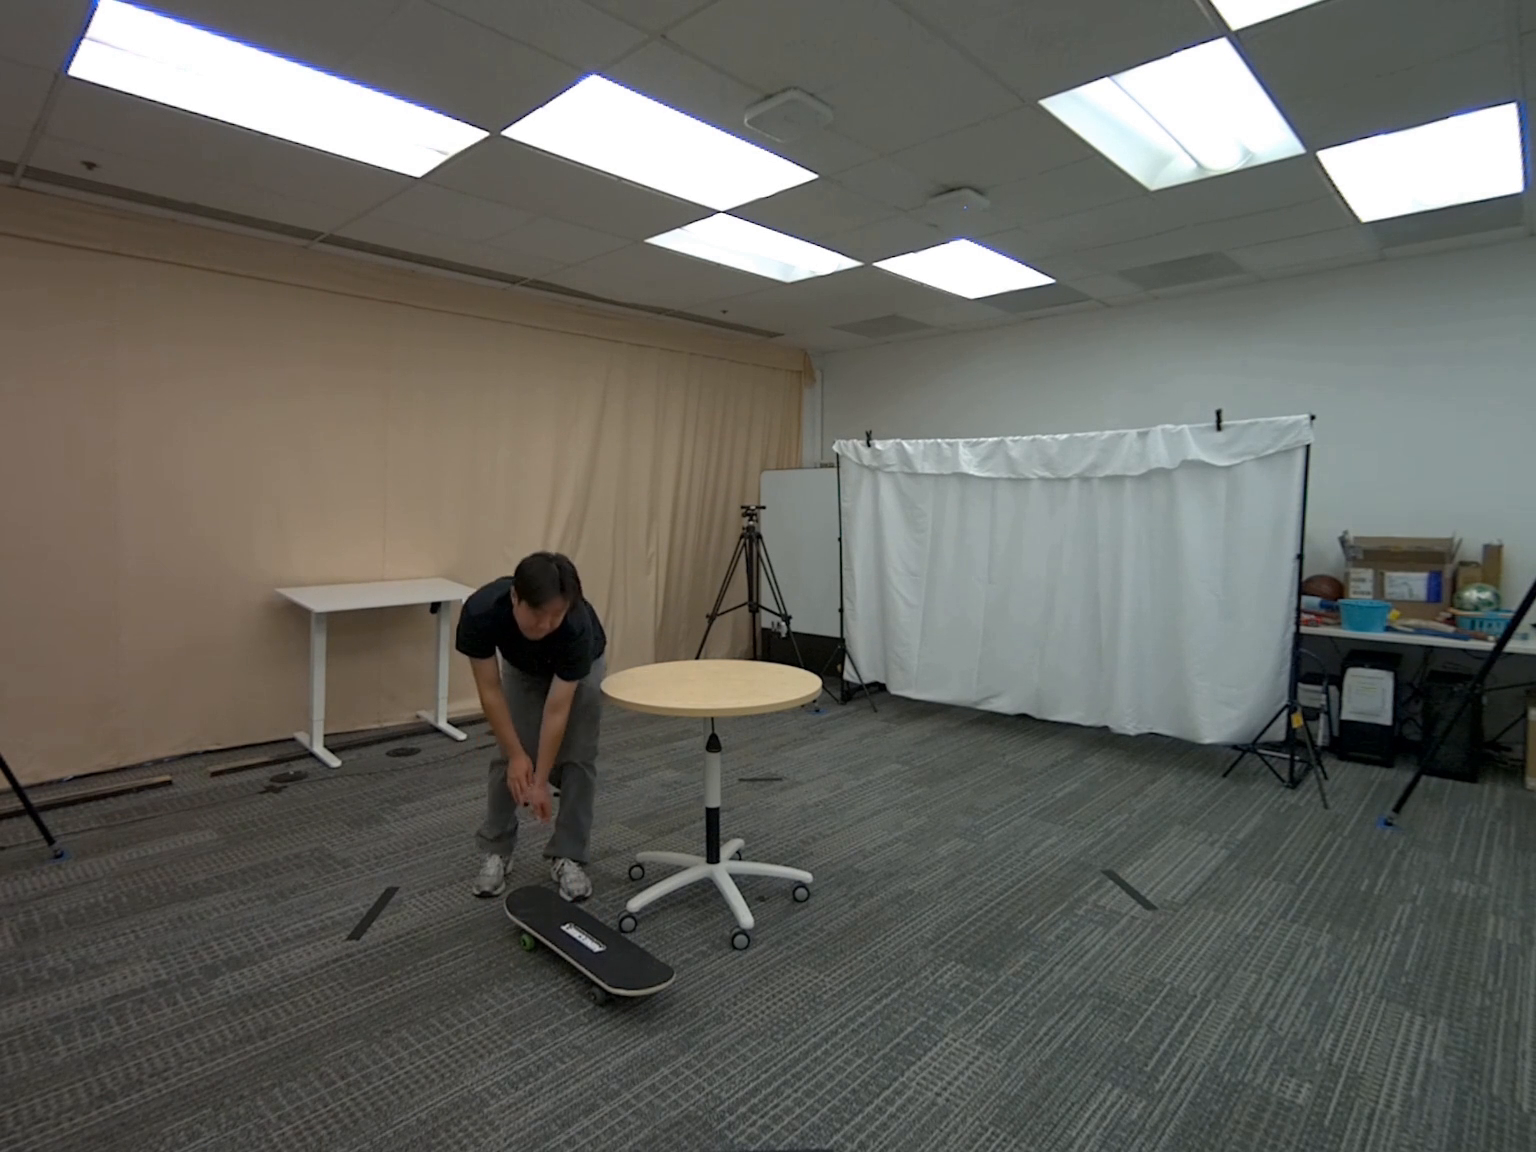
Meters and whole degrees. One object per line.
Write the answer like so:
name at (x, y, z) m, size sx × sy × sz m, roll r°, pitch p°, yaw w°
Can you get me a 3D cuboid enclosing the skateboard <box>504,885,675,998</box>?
skateboard at (-0.563, 1.130, 2.547) m, size 0.187 × 0.110 × 0.812 m, roll -3°, pitch 5°, yaw -43°
